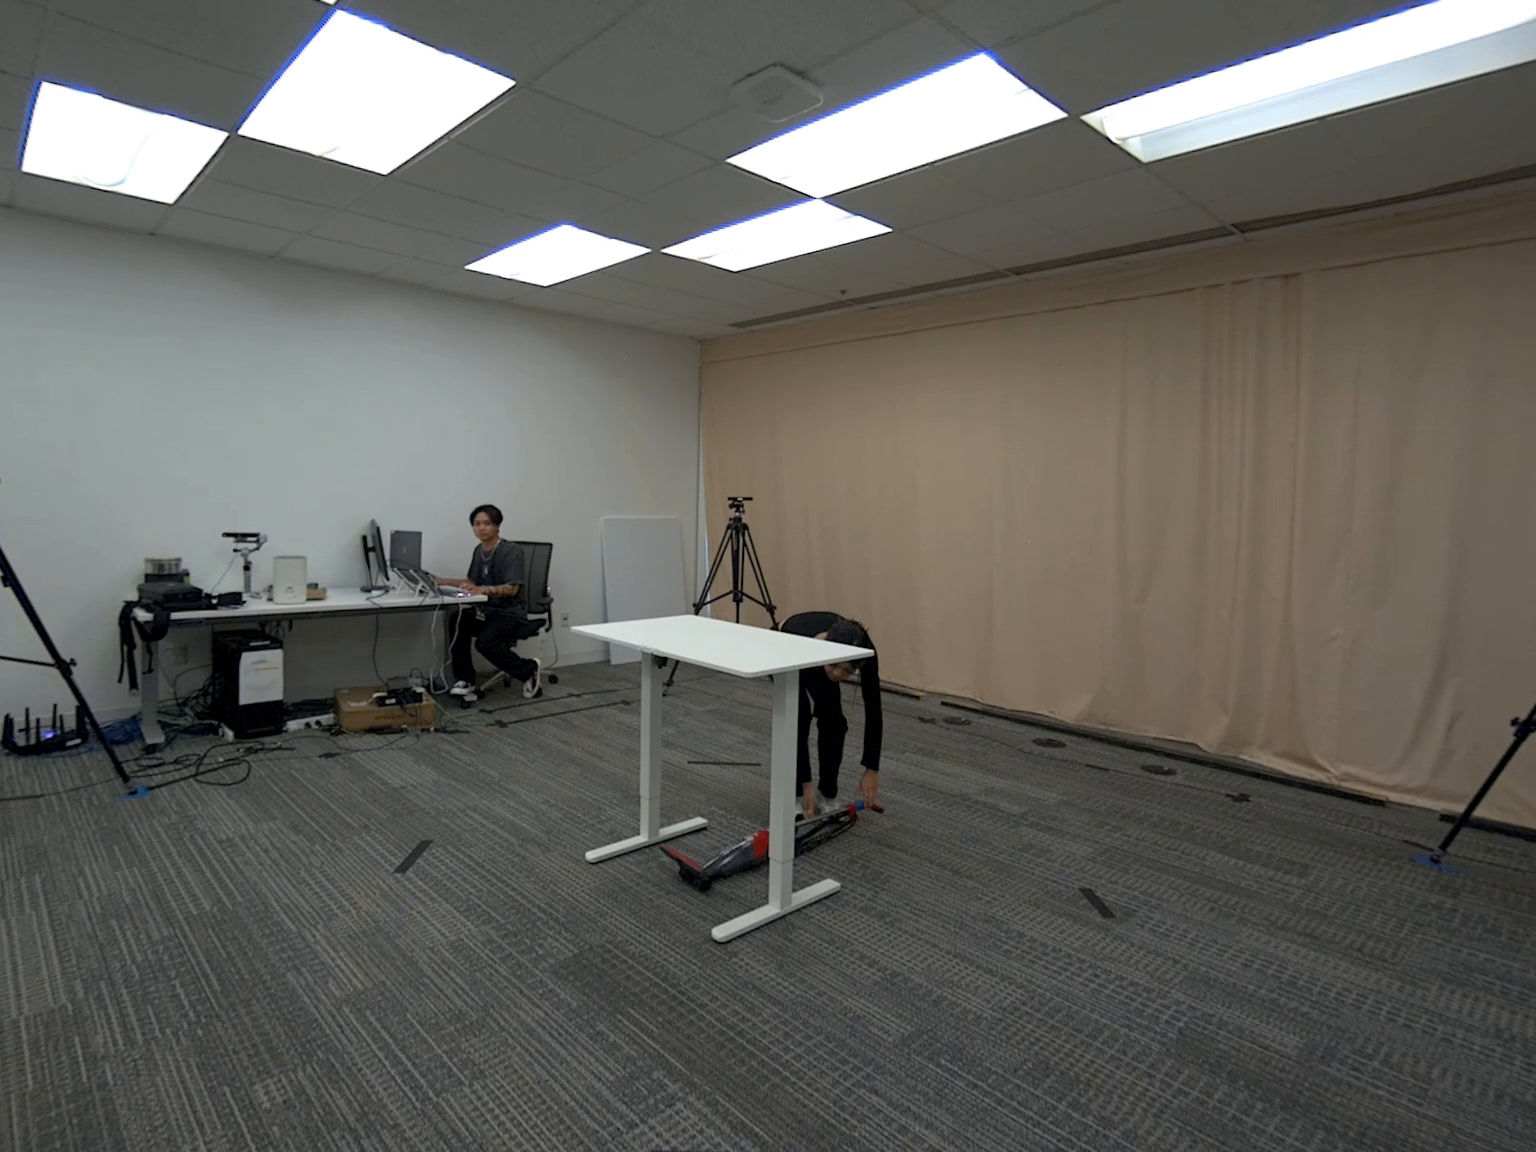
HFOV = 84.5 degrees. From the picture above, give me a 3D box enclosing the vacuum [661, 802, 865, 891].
[{"bbox_3d":[0.092,1.038,3.330,1.025,0.143,0.259,-2,6,-40],"label":"vacuum"}]
